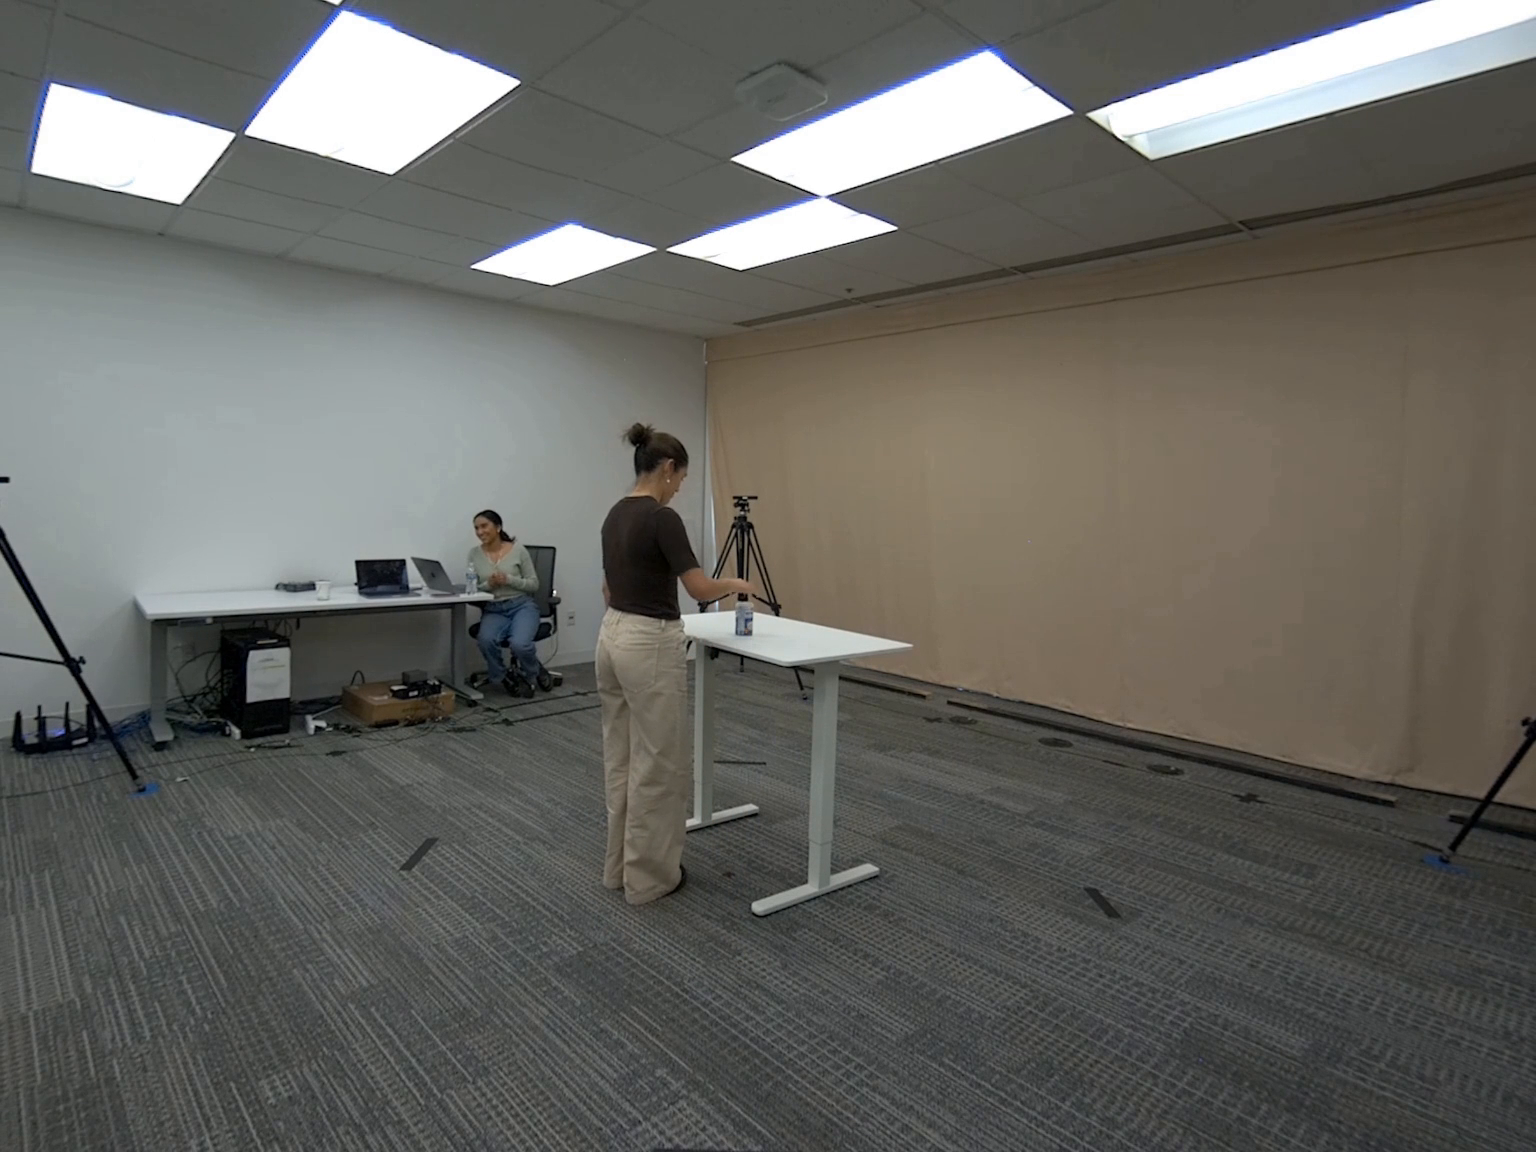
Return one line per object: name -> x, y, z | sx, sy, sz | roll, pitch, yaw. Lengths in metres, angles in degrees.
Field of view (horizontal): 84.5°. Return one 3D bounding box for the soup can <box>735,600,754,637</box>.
soup can -> -0.092, 0.163, 3.121 | 0.067, 0.121, 0.067 | 2, 4, -2
